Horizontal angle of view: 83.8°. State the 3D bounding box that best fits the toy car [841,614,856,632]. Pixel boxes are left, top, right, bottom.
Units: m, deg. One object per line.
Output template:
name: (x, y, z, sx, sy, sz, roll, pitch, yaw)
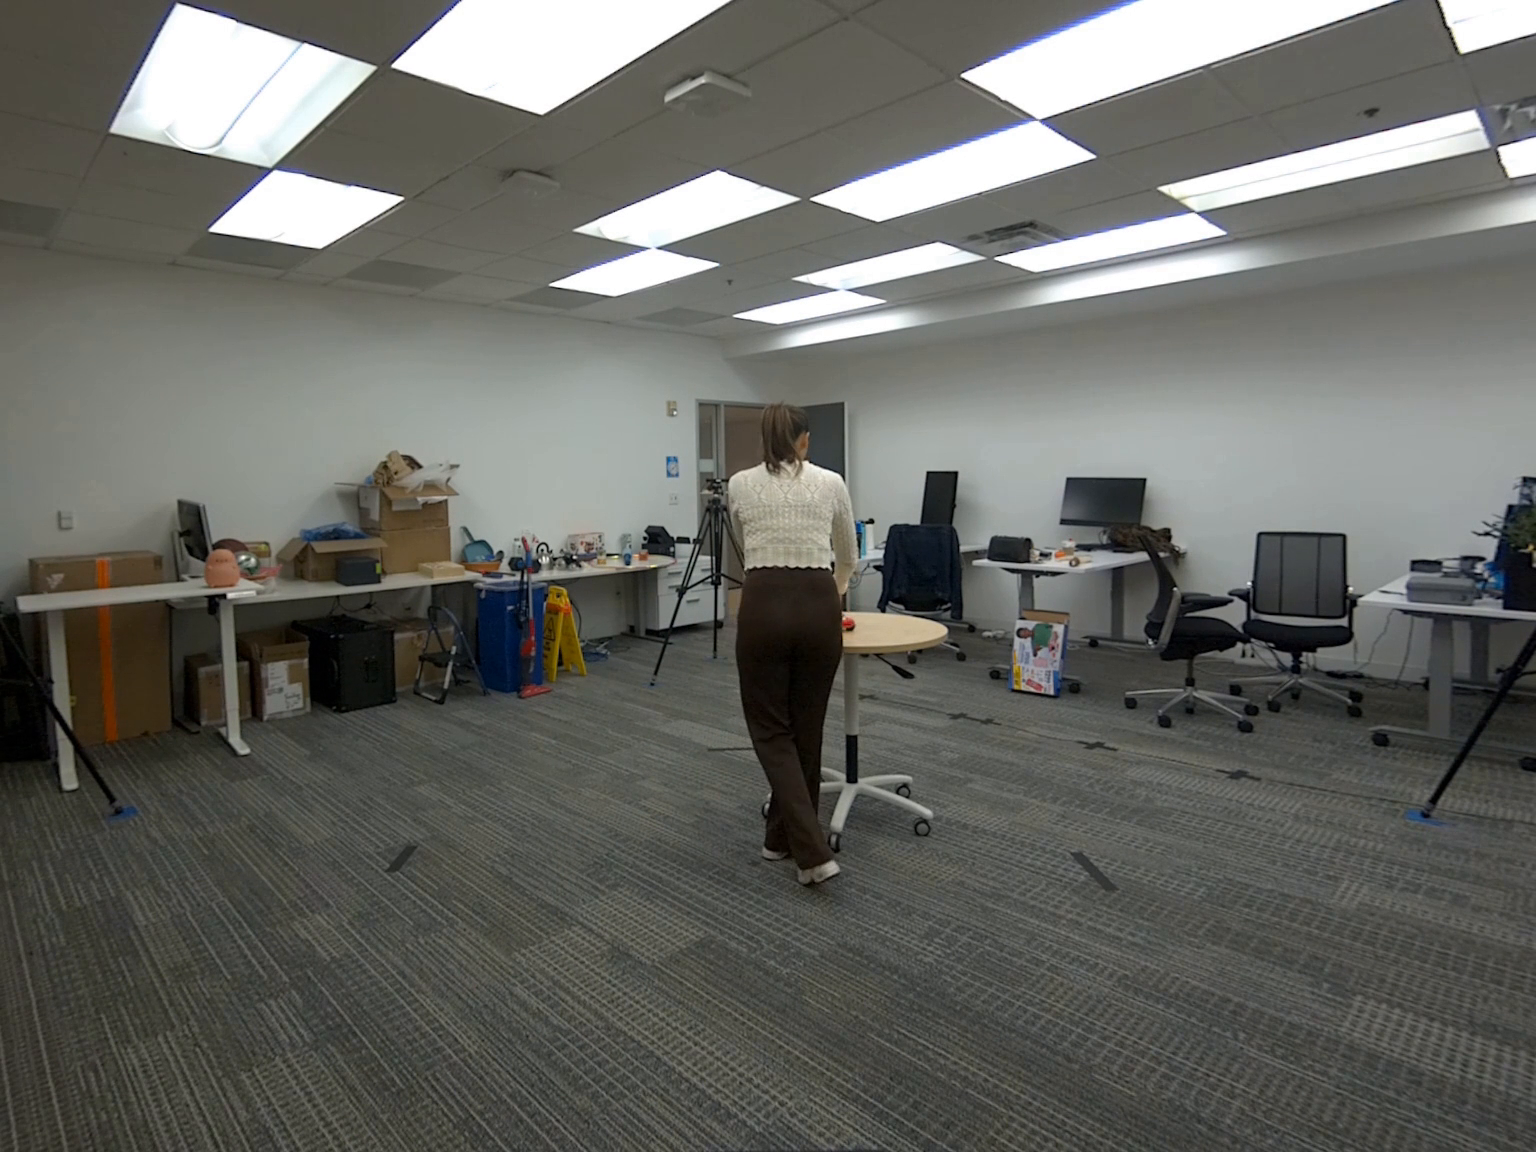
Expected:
toy car: (0.260, 0.179, 3.491, 0.127, 0.082, 0.263, -2, 16, -24)
